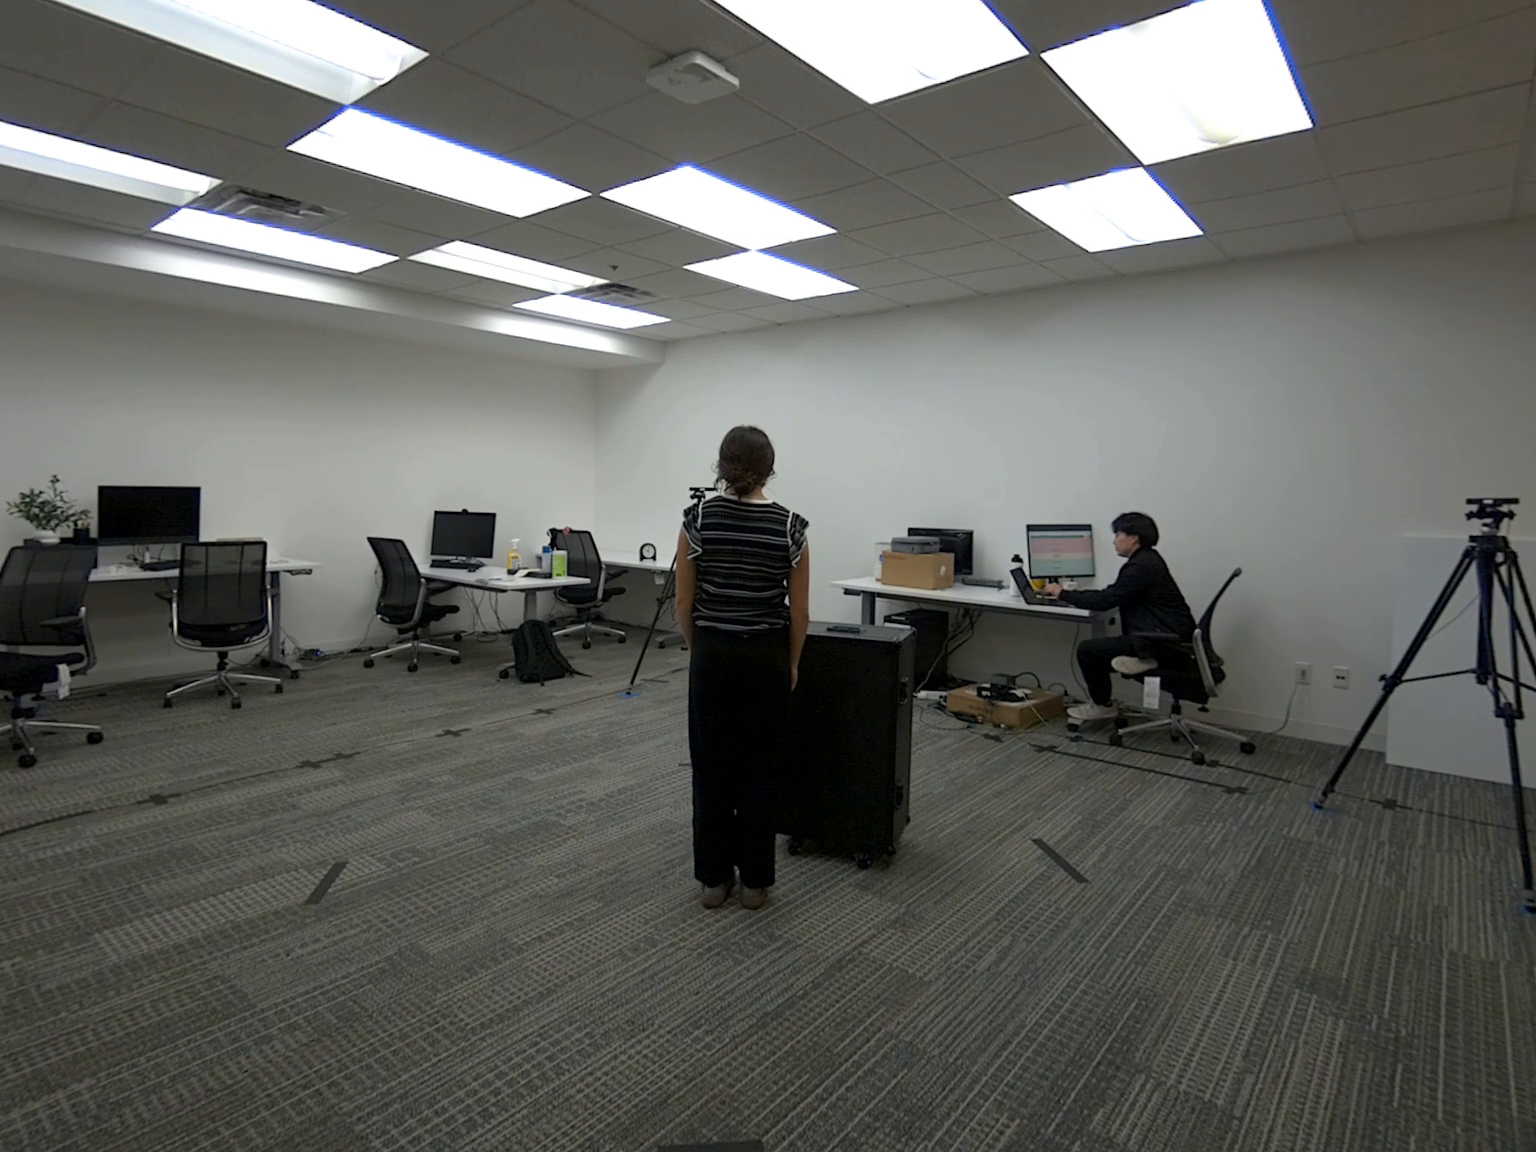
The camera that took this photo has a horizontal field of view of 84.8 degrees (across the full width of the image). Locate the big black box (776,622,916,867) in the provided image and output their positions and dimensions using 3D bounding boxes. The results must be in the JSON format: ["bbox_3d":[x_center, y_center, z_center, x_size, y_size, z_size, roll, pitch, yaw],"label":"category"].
[{"bbox_3d":[0.289,0.633,3.345,0.533,0.860,0.388,3,2,21],"label":"big black box"}]
